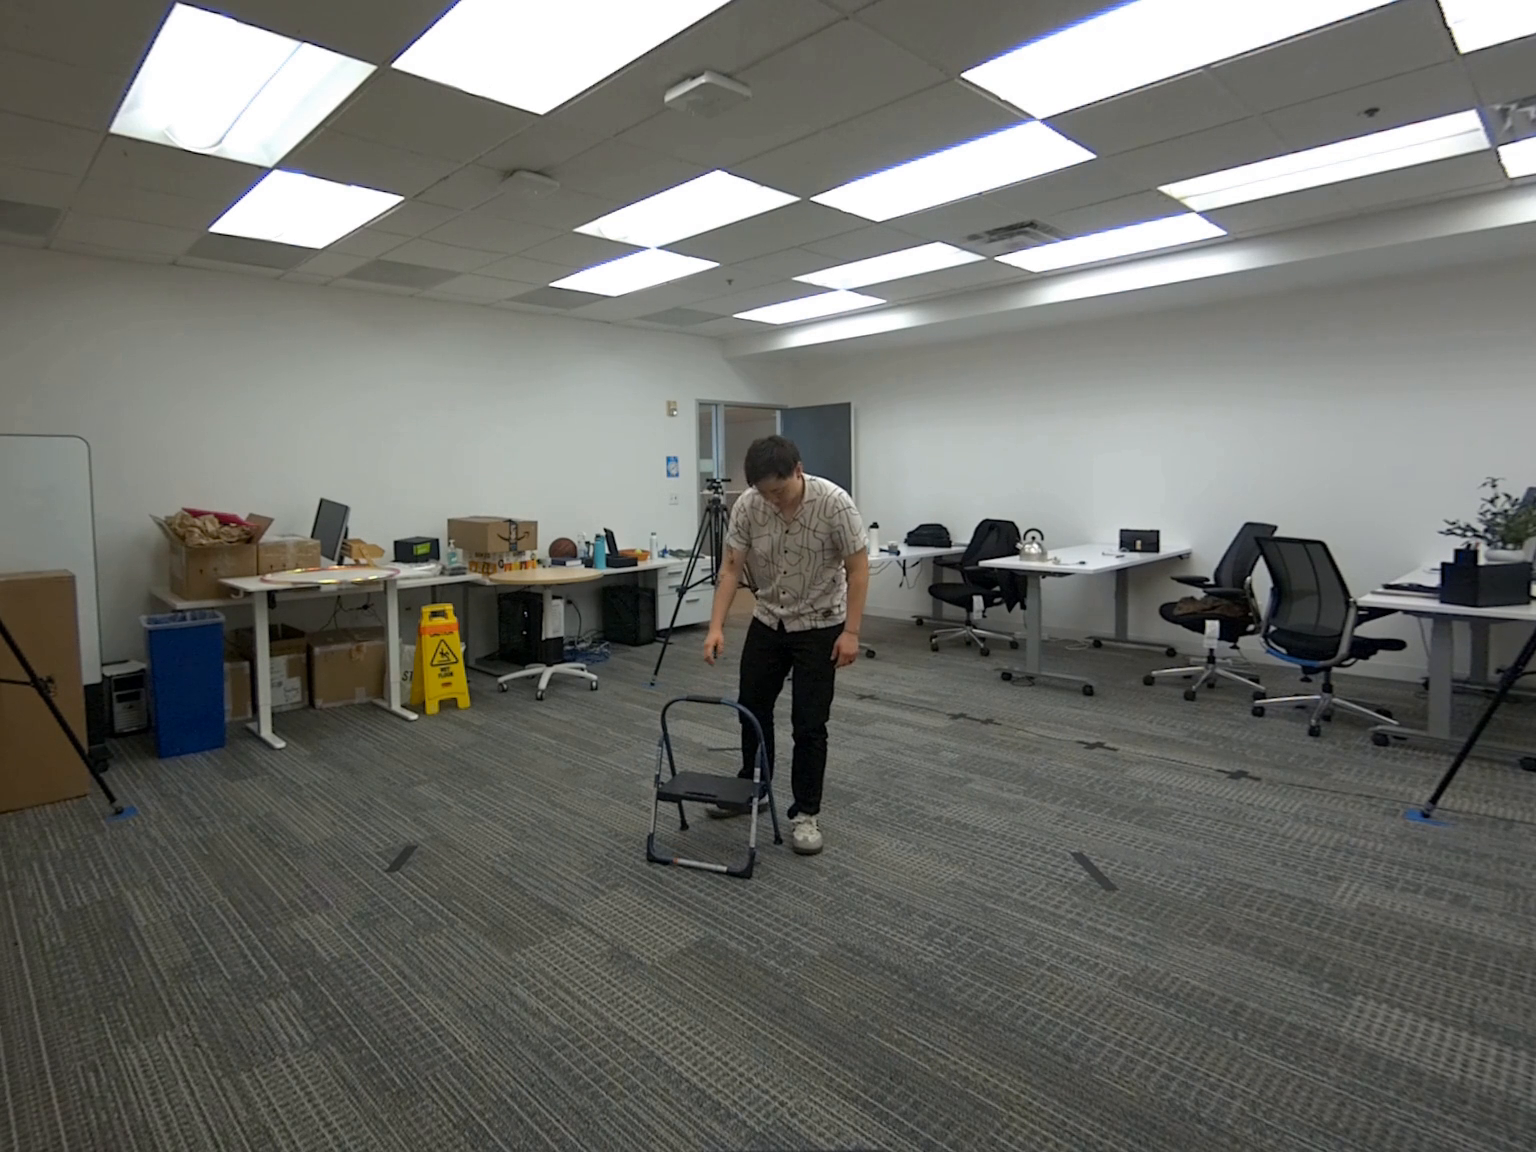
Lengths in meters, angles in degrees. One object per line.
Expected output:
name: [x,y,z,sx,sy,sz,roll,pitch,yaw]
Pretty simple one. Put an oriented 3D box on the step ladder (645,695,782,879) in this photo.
step ladder: [-0.205,0.735,3.189,0.439,0.604,0.343,1,4,21]
